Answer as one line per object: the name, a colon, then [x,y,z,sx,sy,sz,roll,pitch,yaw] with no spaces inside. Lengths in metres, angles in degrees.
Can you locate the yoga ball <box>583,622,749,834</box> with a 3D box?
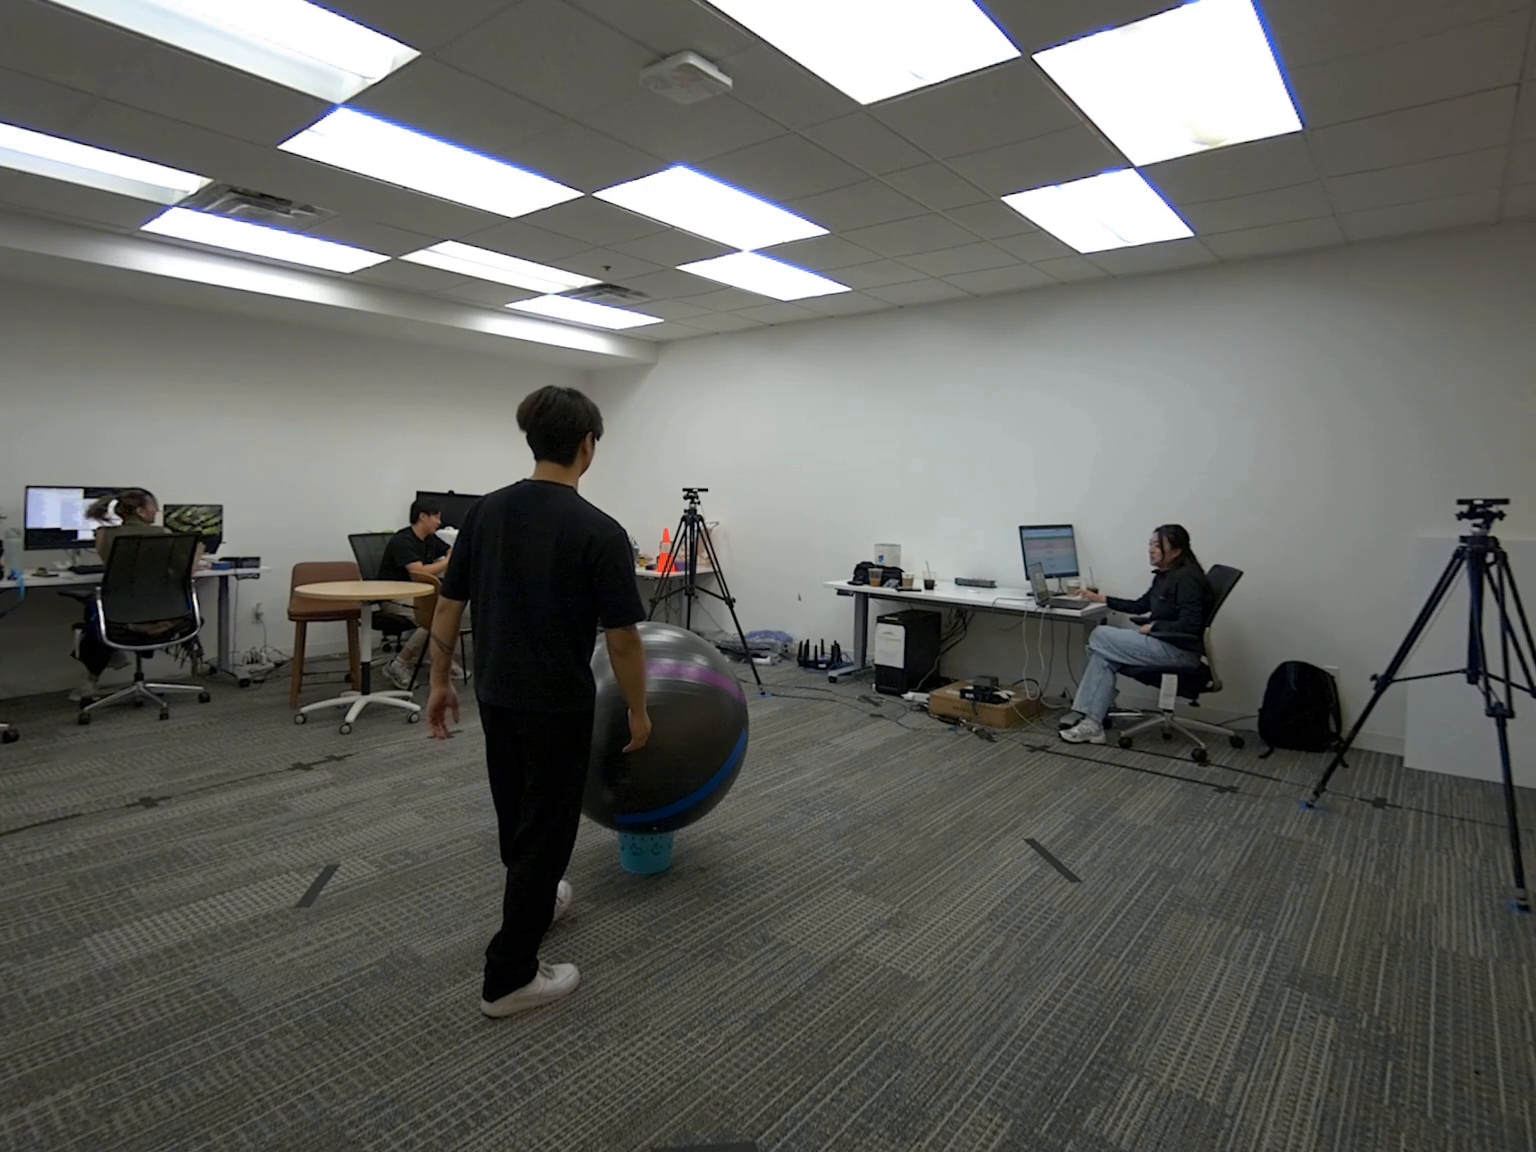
yoga ball: [-0.456,0.555,3.137,0.757,0.755,0.762,1,4,-2]
